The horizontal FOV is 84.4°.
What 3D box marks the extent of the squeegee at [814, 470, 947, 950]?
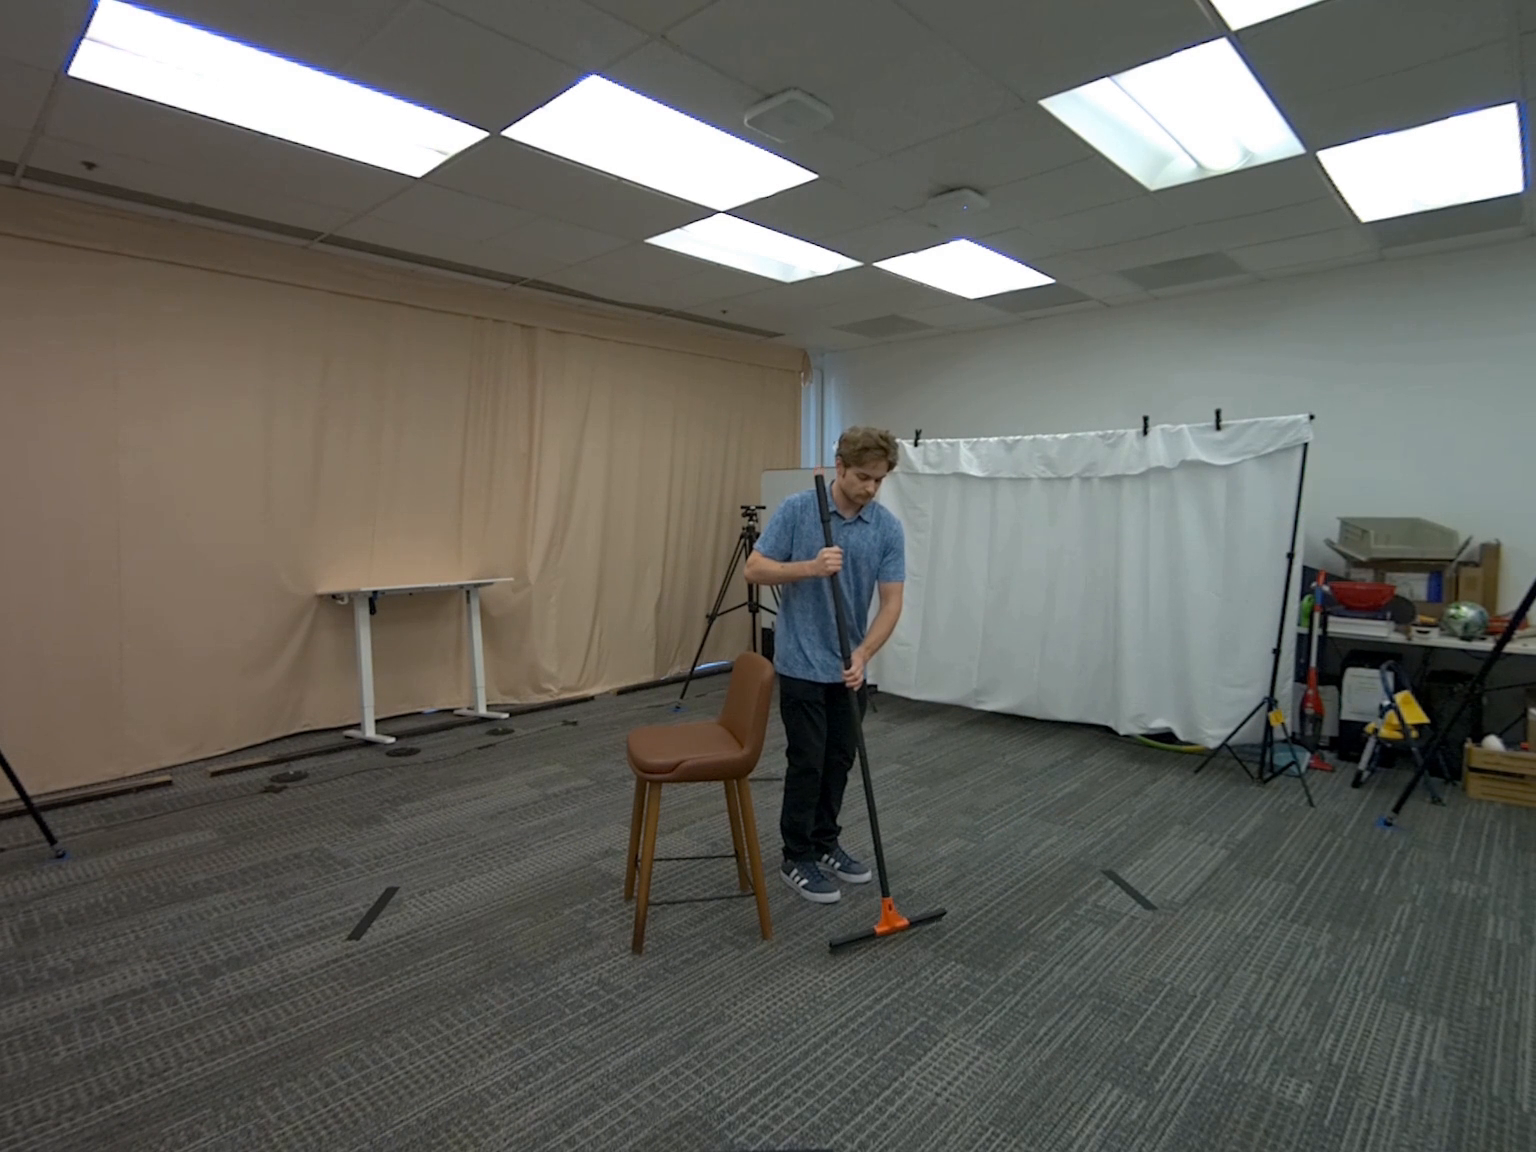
[{"bbox_3d":[0.308,0.397,2.766,0.427,1.545,0.054,-3,-7,-26],"label":"squeegee"}]
